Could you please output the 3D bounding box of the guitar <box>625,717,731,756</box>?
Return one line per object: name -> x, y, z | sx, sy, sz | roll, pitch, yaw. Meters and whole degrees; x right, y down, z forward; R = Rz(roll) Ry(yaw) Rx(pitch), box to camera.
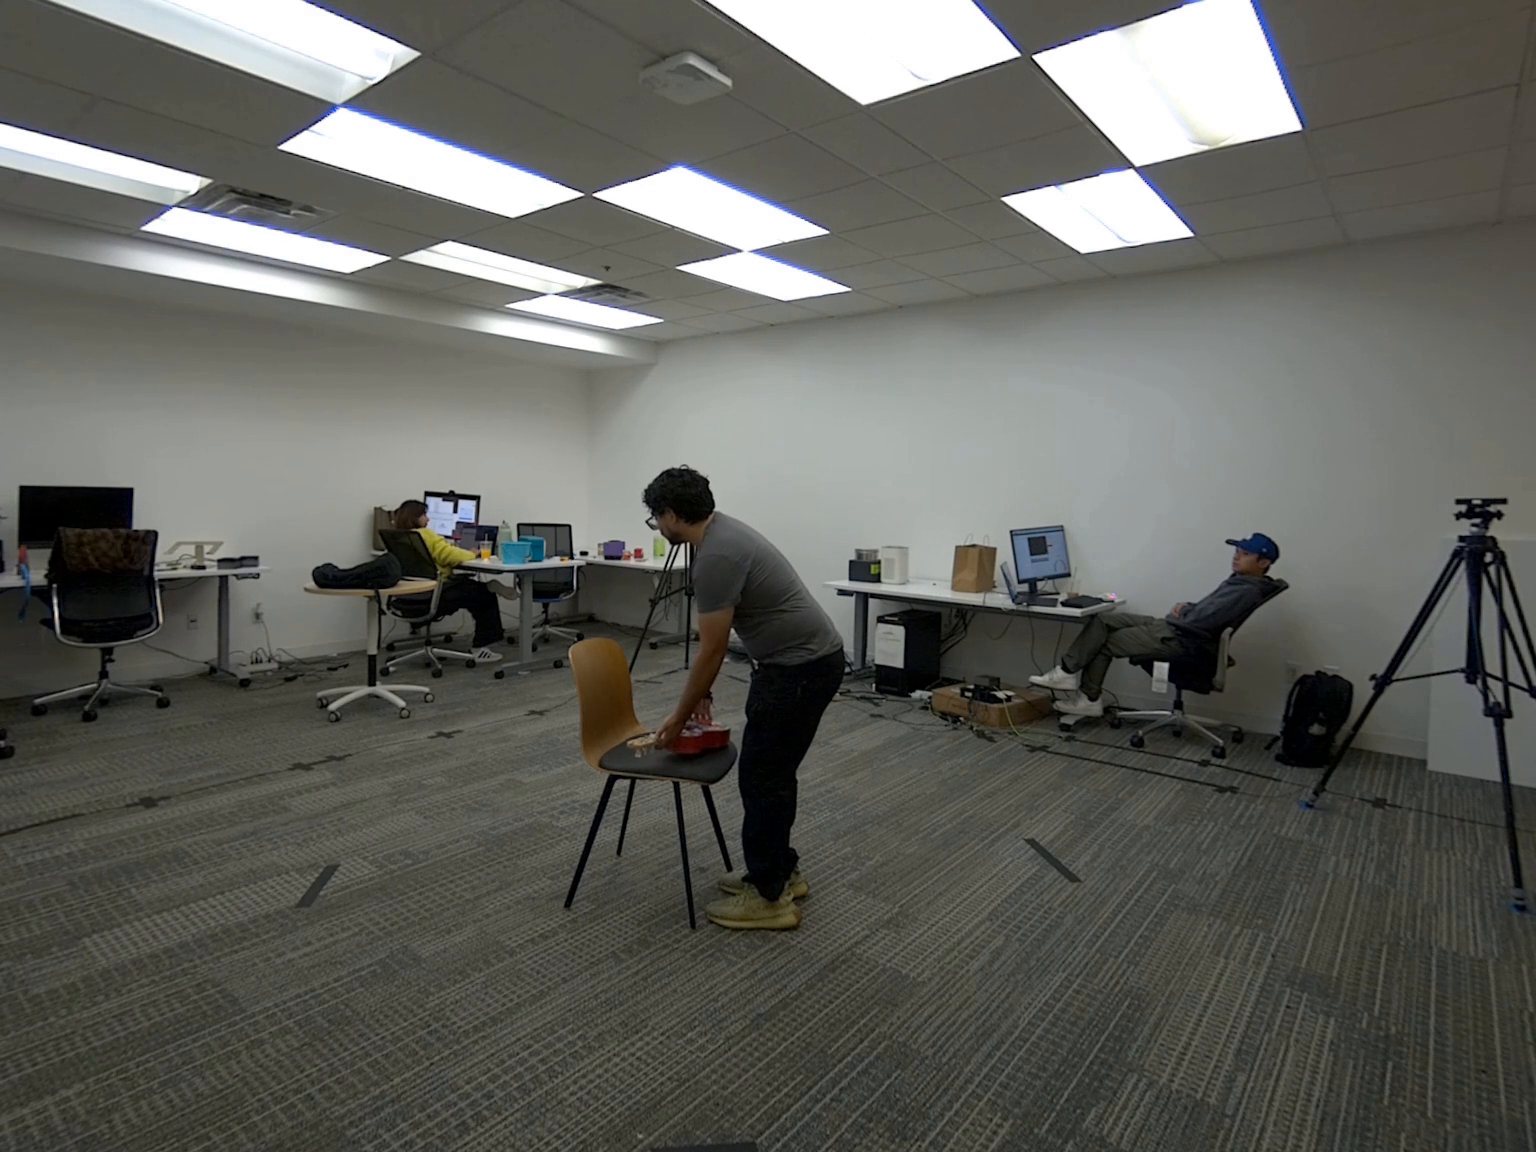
guitar -> -0.347, 0.549, 2.878 | 0.199, 0.070, 0.481 | 6, 3, 39
